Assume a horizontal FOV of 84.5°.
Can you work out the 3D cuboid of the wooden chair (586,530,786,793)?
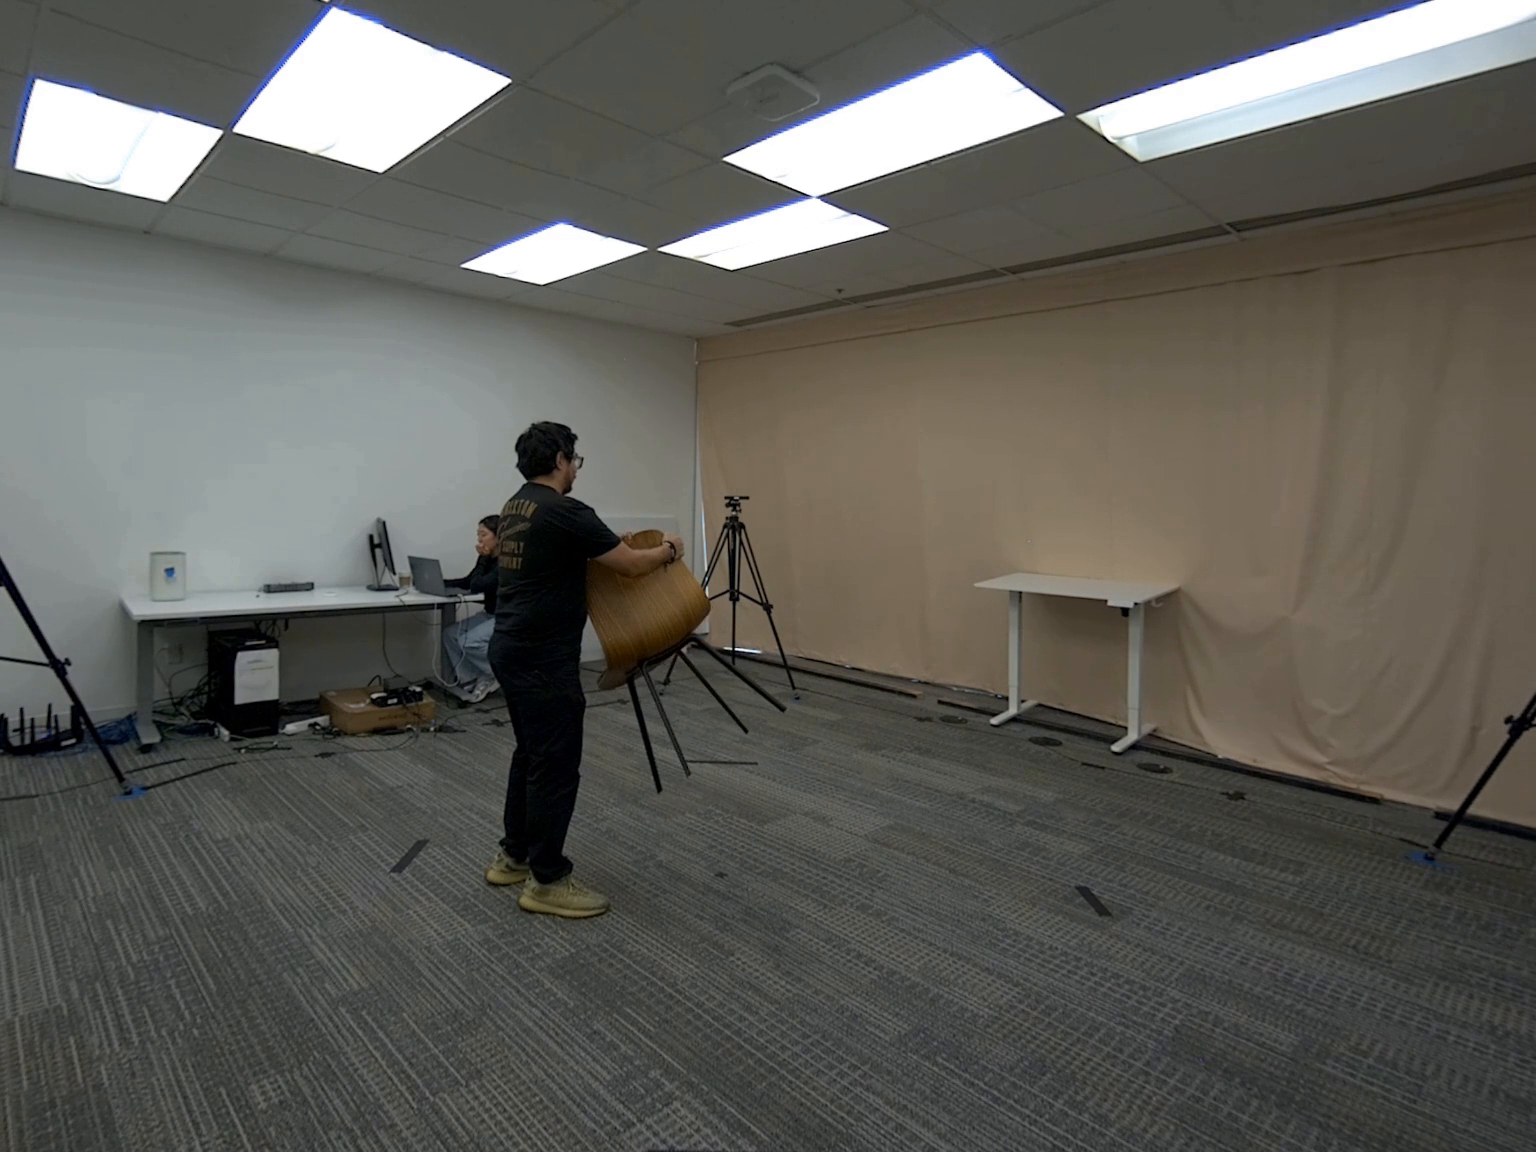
[{"bbox_3d":[-0.418,0.320,3.245,0.474,0.883,0.524,-29,-6,-28],"label":"wooden chair"}]
